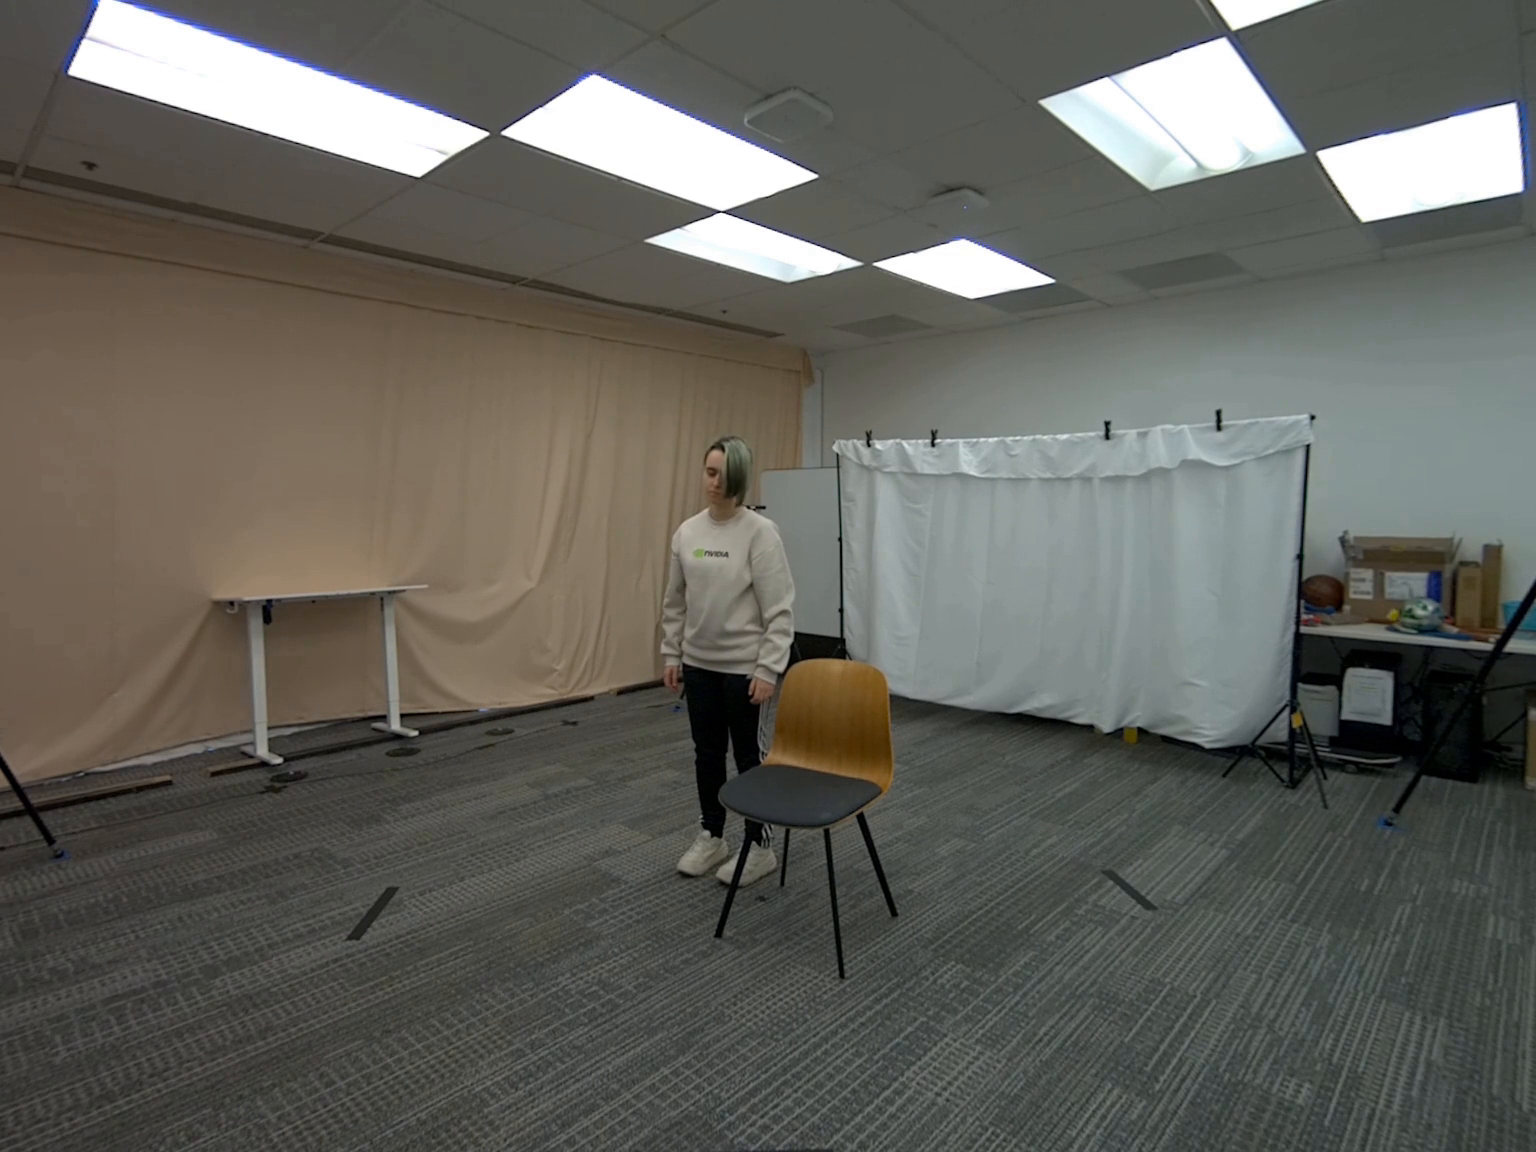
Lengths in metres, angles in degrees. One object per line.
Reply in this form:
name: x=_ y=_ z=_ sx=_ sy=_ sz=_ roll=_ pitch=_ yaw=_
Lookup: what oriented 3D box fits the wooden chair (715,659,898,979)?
wooden chair: x=0.136 y=0.736 z=2.744 sx=0.492 sy=0.877 sz=0.508 roll=2 pitch=0 yaw=31
